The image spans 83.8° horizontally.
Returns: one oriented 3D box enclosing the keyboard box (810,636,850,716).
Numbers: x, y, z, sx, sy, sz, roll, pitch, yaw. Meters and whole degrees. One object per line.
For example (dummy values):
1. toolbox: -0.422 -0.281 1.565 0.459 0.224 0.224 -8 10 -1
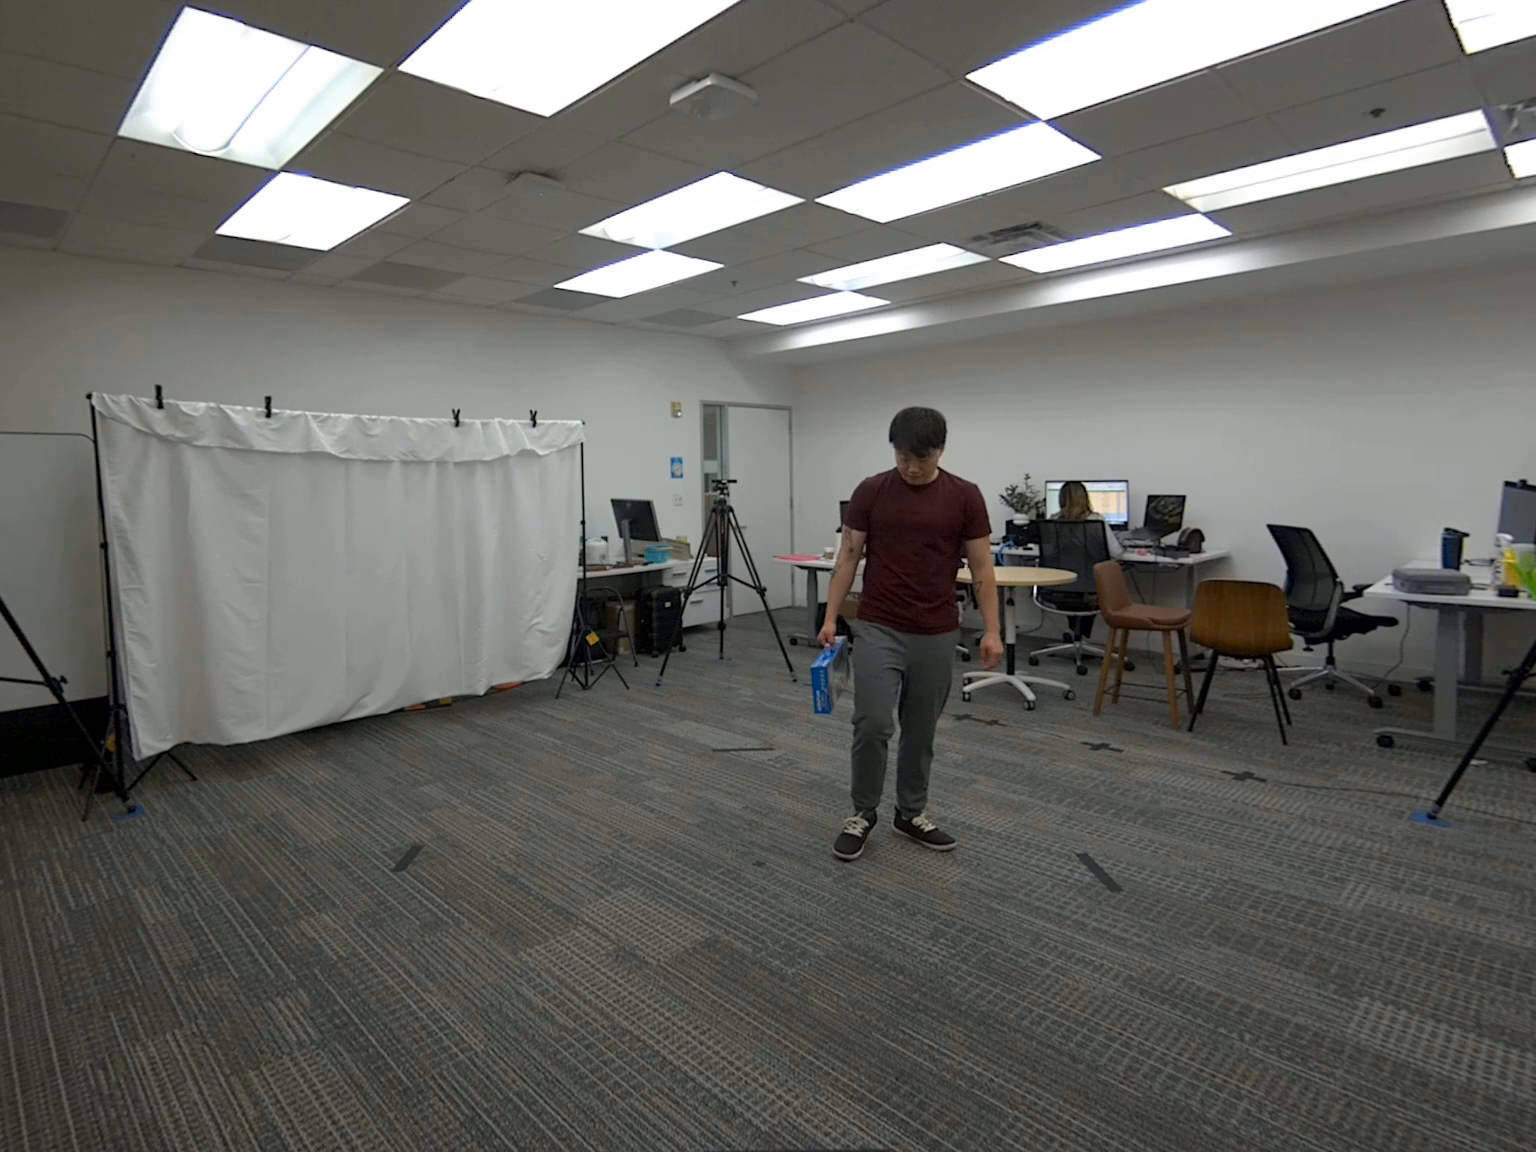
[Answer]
1. keyboard box: 0.237 0.363 3.193 0.060 0.174 0.434 -4 9 15
